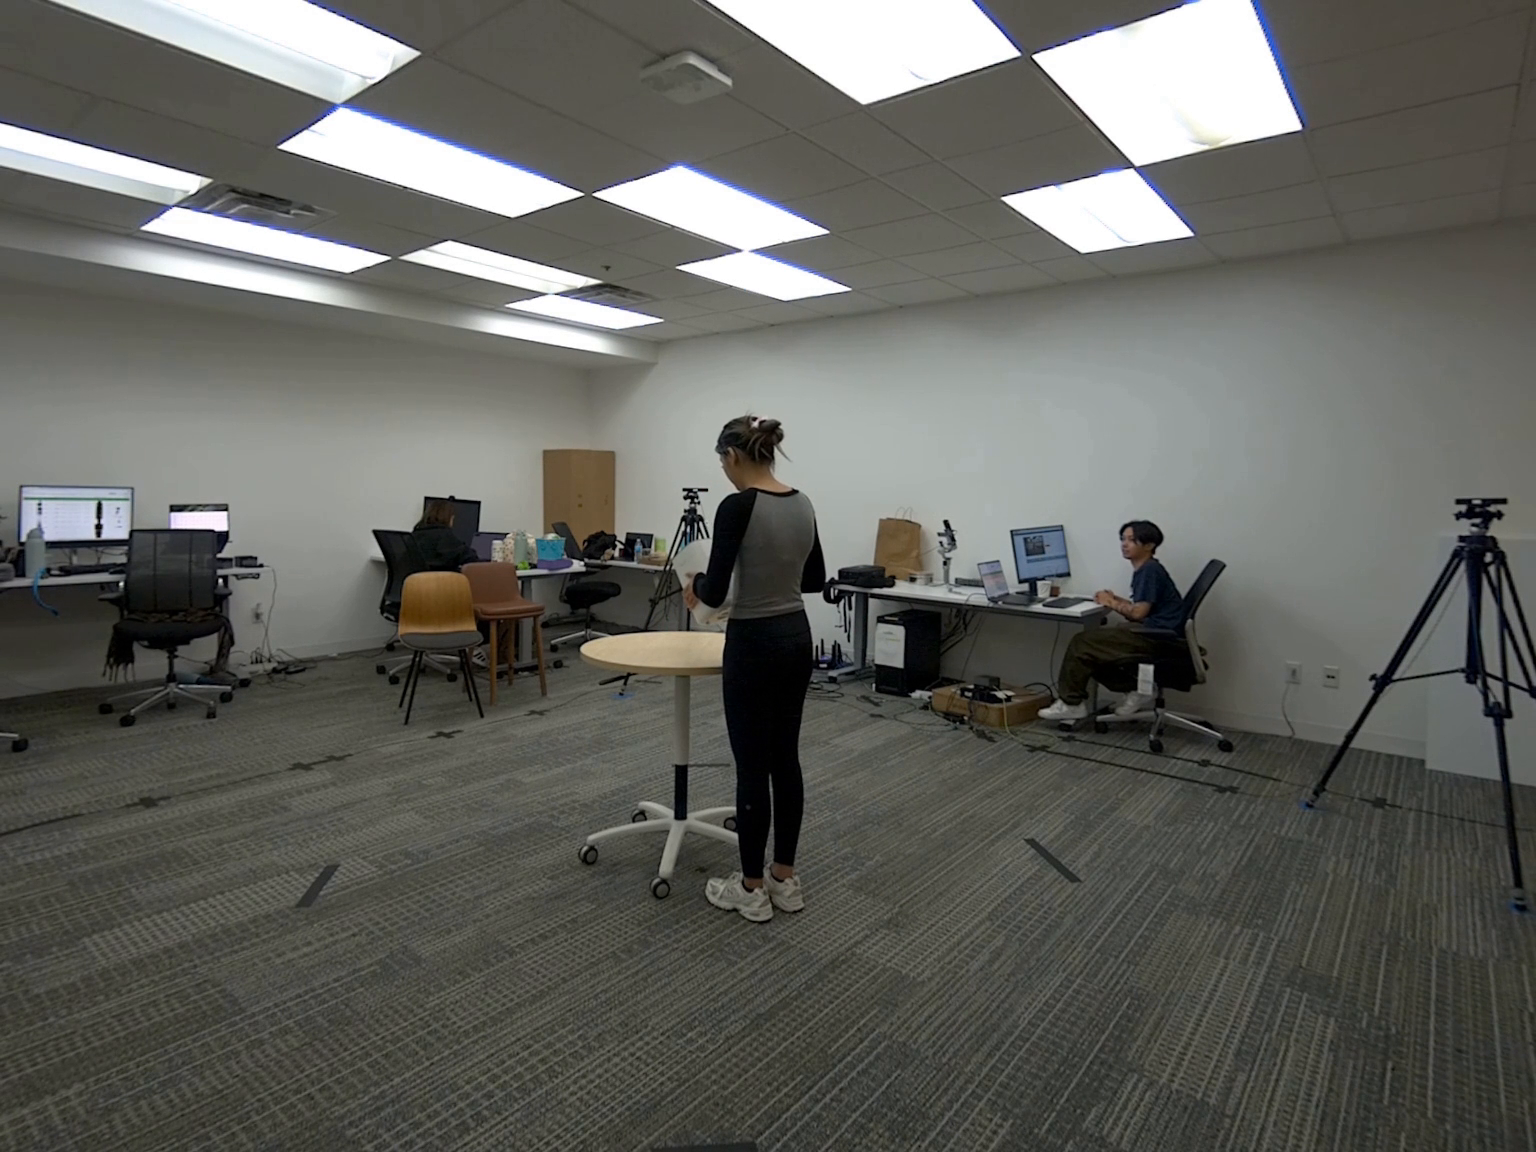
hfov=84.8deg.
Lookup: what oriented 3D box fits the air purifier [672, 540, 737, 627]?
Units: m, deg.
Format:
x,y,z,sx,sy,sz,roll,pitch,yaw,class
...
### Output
x,y,z,sx,sy,sz,roll,pitch,yaw,class
-0.212,0.020,2.999,0.166,0.272,0.171,-4,-29,-43,air purifier
